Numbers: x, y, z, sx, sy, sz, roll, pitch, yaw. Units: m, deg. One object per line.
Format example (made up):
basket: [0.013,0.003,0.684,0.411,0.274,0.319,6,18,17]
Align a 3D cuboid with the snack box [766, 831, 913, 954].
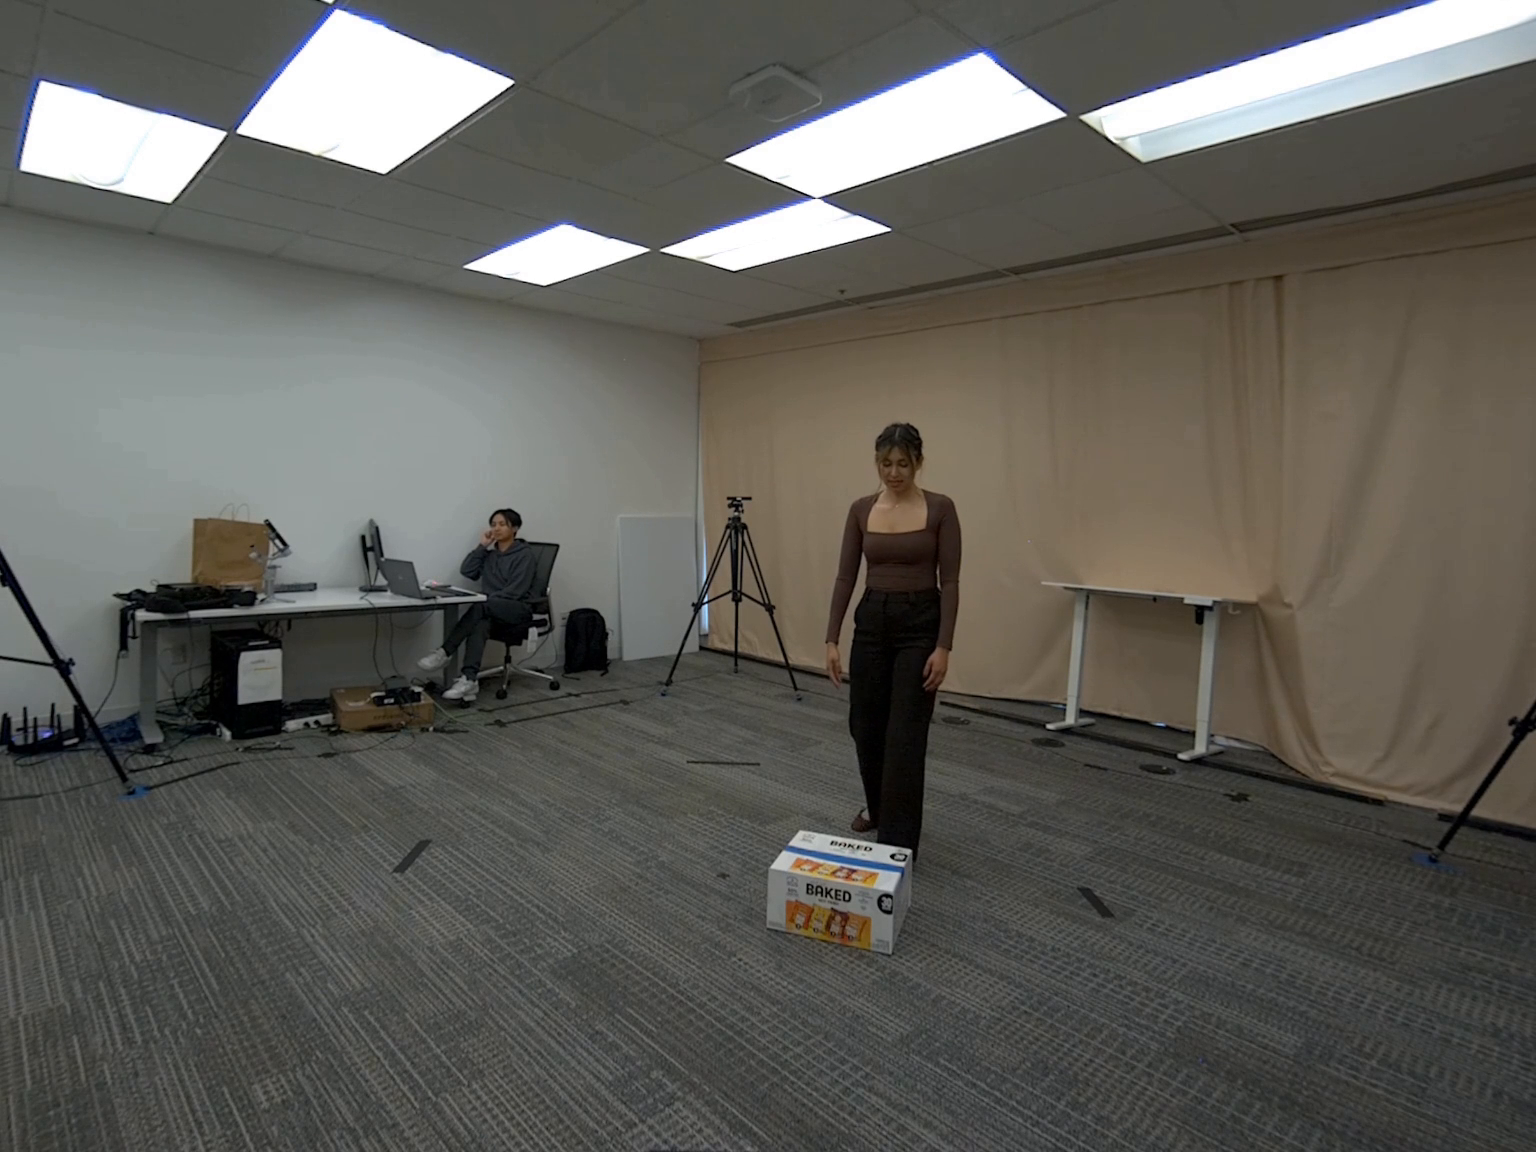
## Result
snack box: [0.241,1.040,2.800,0.412,0.205,0.336,3,5,20]
